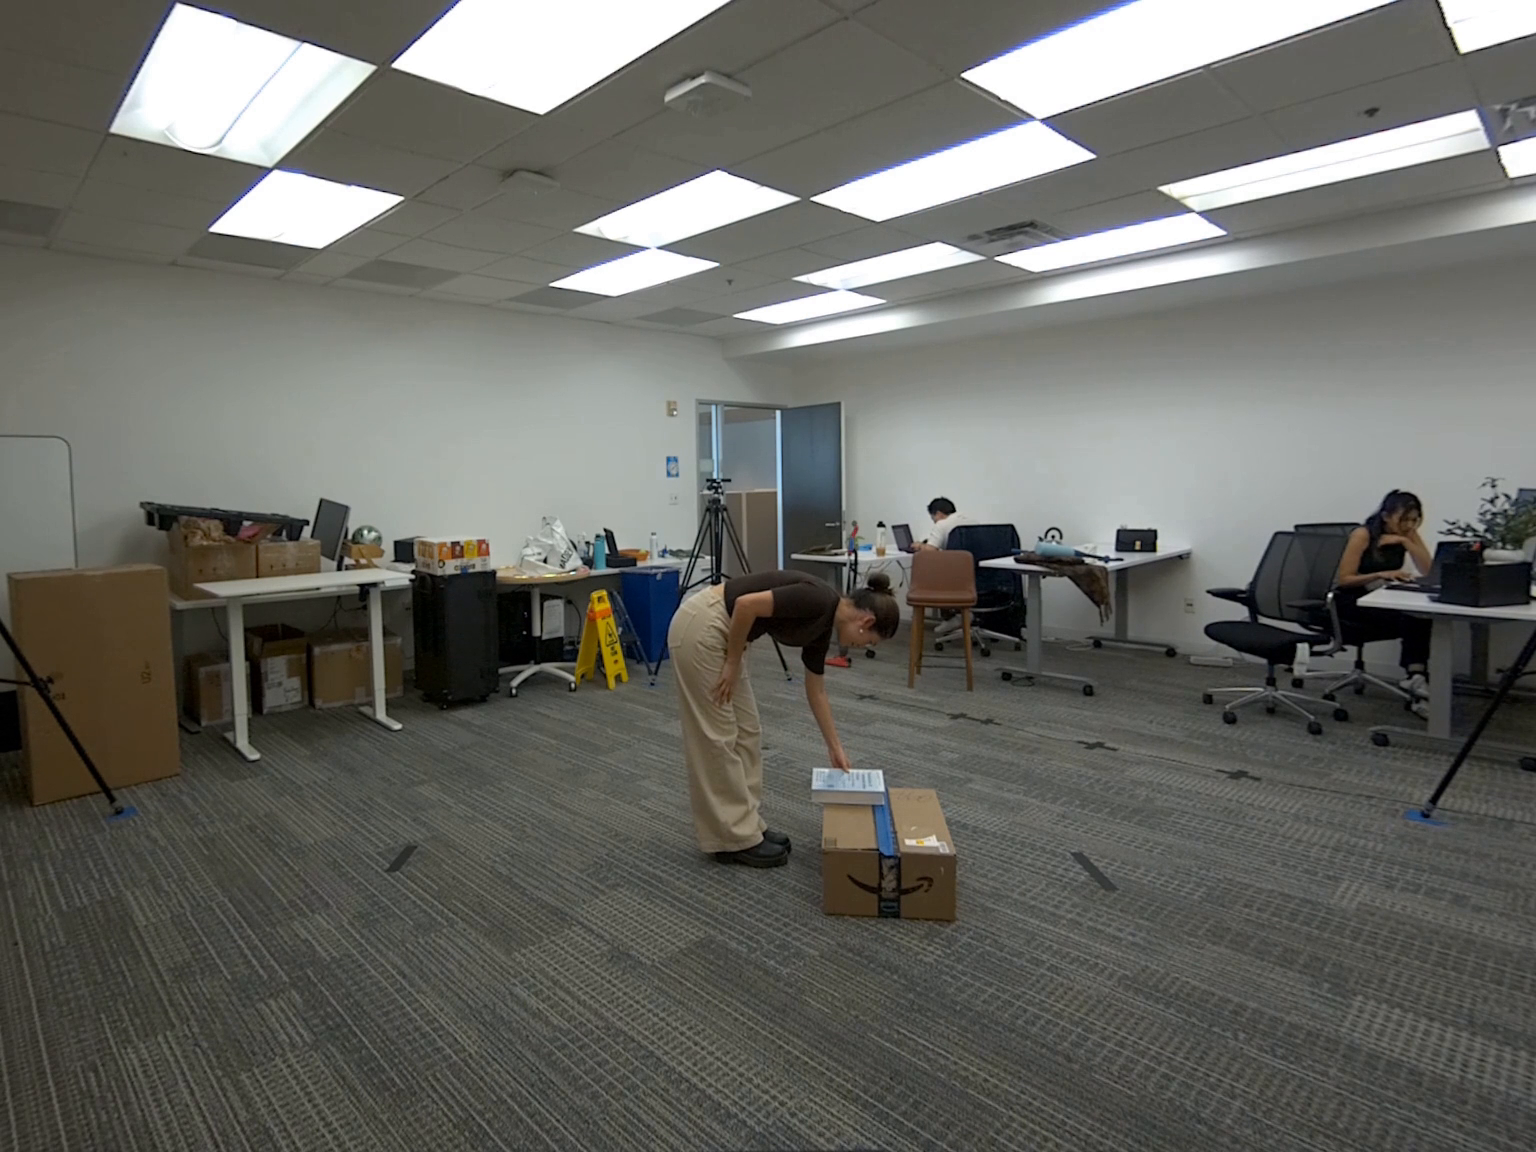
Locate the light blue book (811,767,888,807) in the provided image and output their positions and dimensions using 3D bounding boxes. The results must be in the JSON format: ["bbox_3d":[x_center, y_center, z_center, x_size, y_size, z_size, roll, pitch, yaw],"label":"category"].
[{"bbox_3d":[0.285,0.779,3.165,0.263,0.058,0.192,-1,11,6],"label":"light blue book"}]
